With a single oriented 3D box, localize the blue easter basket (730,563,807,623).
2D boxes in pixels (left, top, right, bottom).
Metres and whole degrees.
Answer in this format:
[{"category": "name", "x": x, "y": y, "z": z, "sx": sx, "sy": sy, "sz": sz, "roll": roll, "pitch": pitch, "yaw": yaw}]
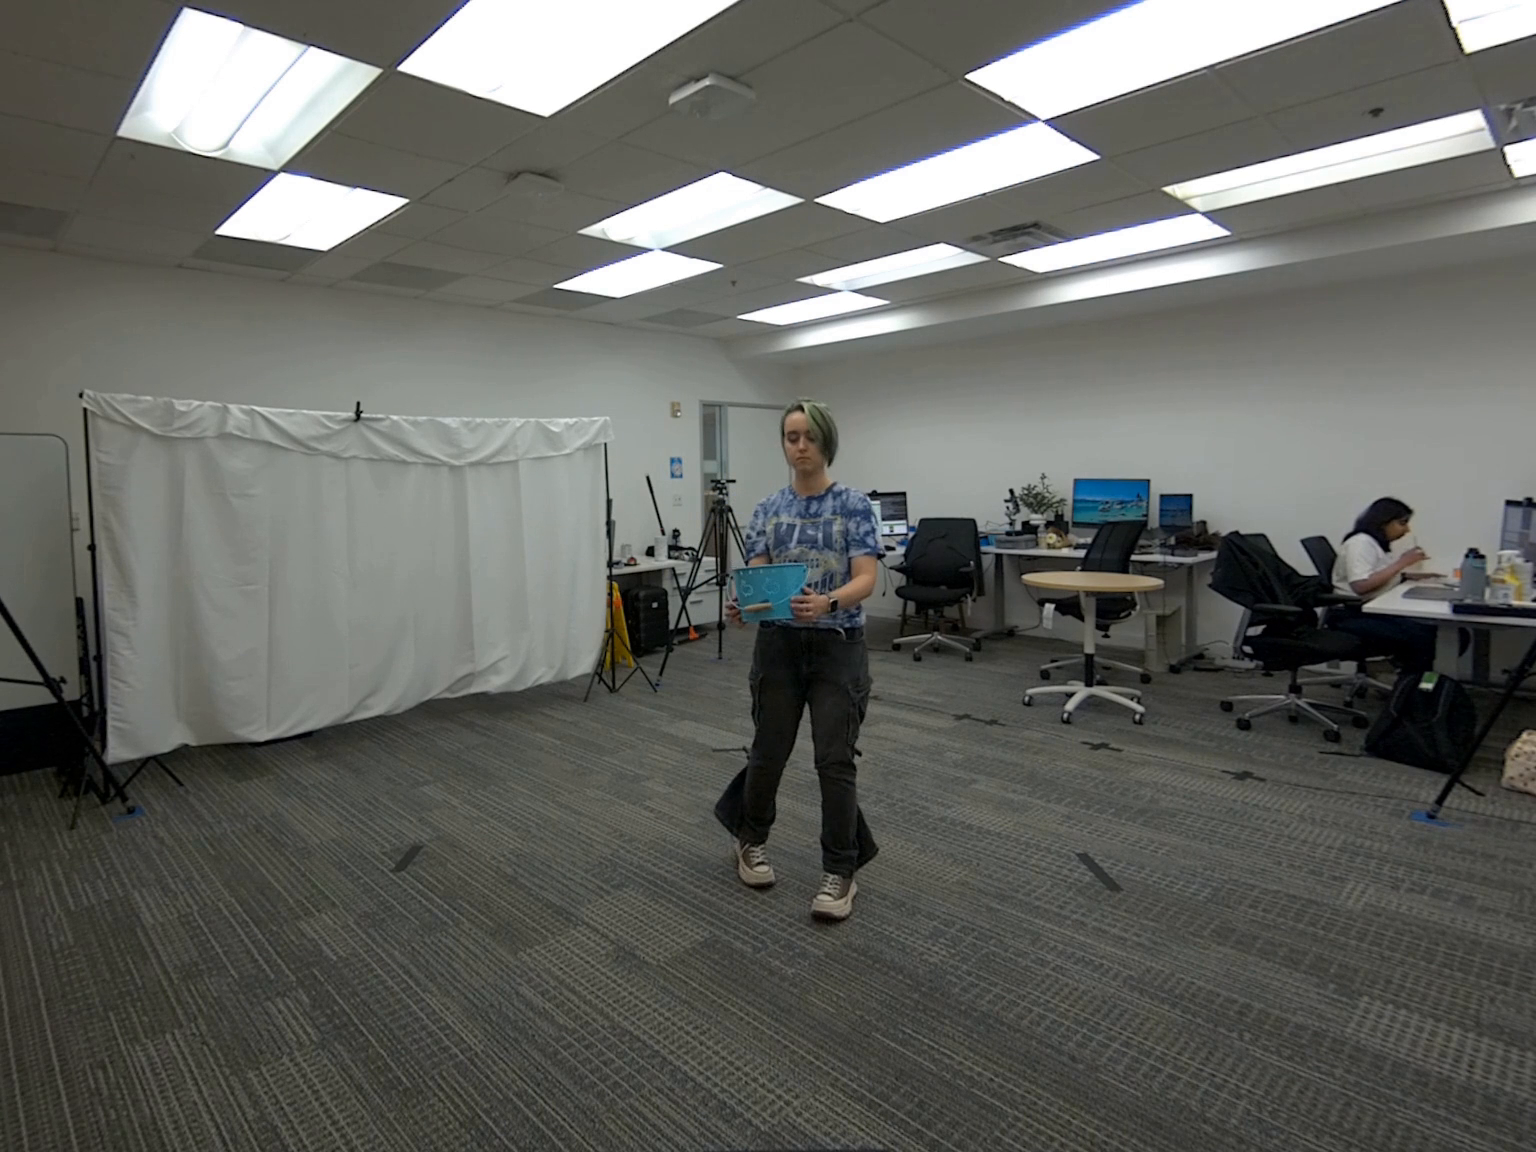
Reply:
[{"category": "blue easter basket", "x": 0.006, "y": 0.055, "z": 2.497, "sx": 0.243, "sy": 0.156, "sz": 0.243, "roll": -3, "pitch": -2, "yaw": -2}]
